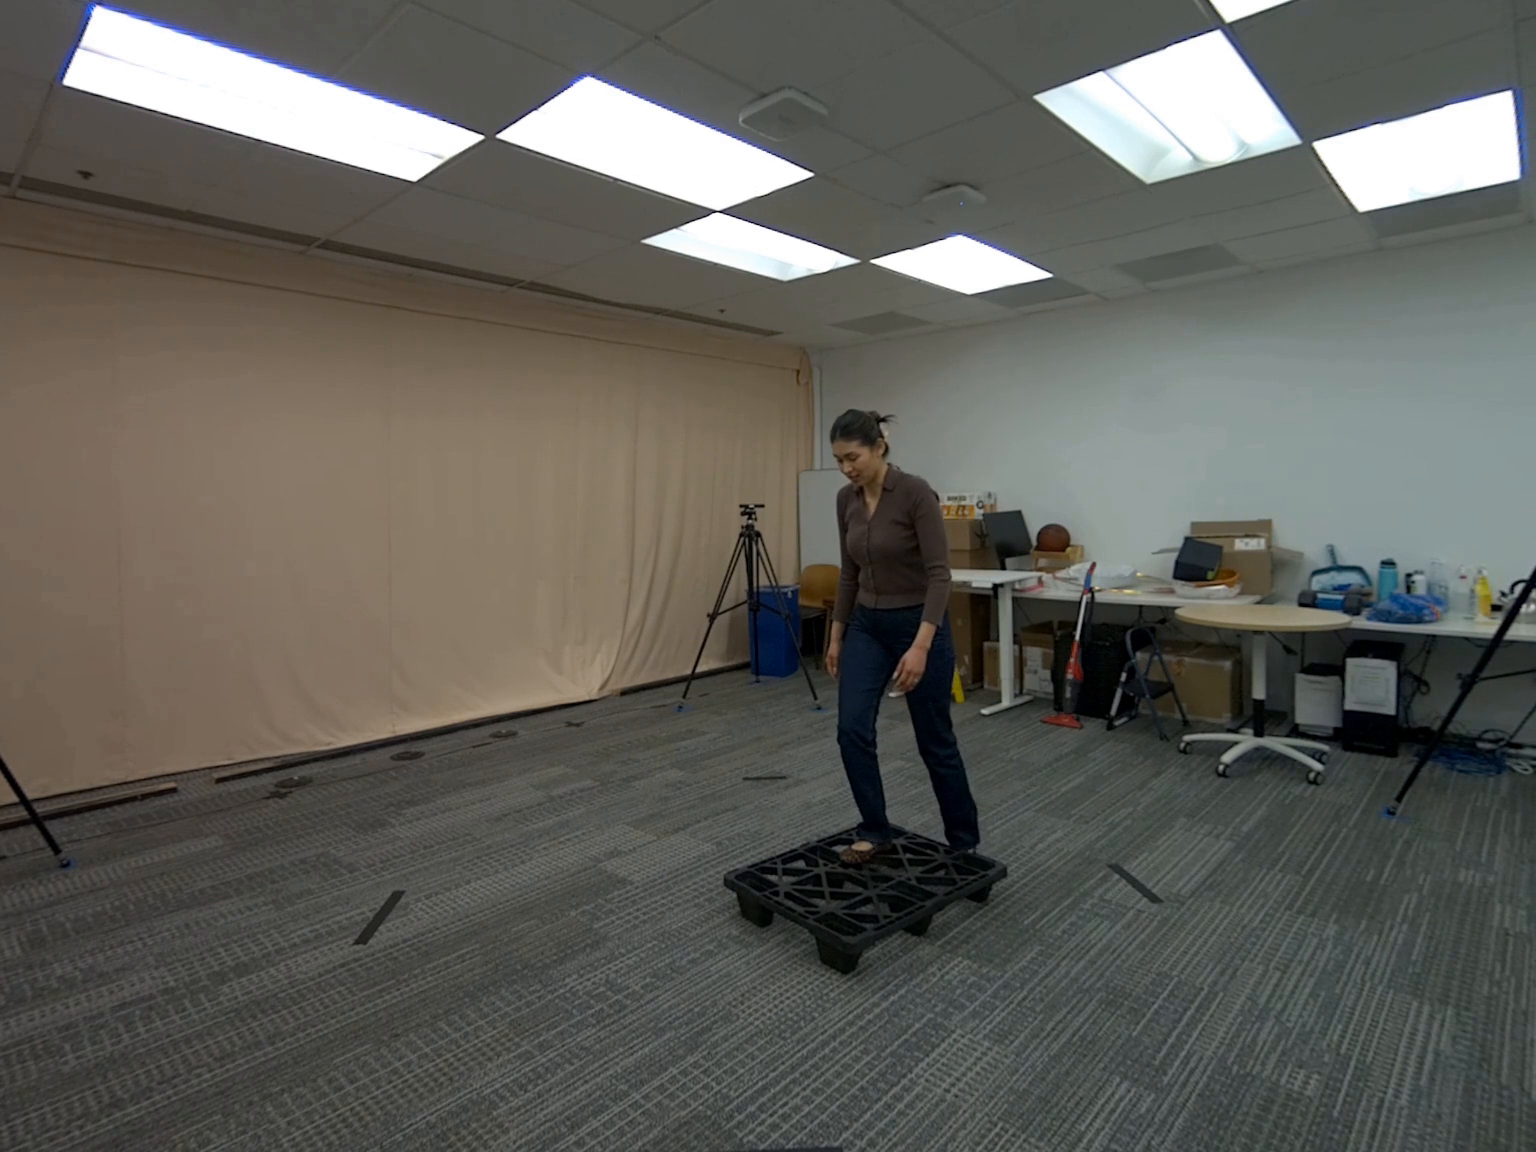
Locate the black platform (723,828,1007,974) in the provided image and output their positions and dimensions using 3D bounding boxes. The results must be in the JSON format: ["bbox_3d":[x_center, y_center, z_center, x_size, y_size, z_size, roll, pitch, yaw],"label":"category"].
[{"bbox_3d":[0.335,1.076,2.886,0.781,0.143,0.625,-5,5,-40],"label":"black platform"}]
